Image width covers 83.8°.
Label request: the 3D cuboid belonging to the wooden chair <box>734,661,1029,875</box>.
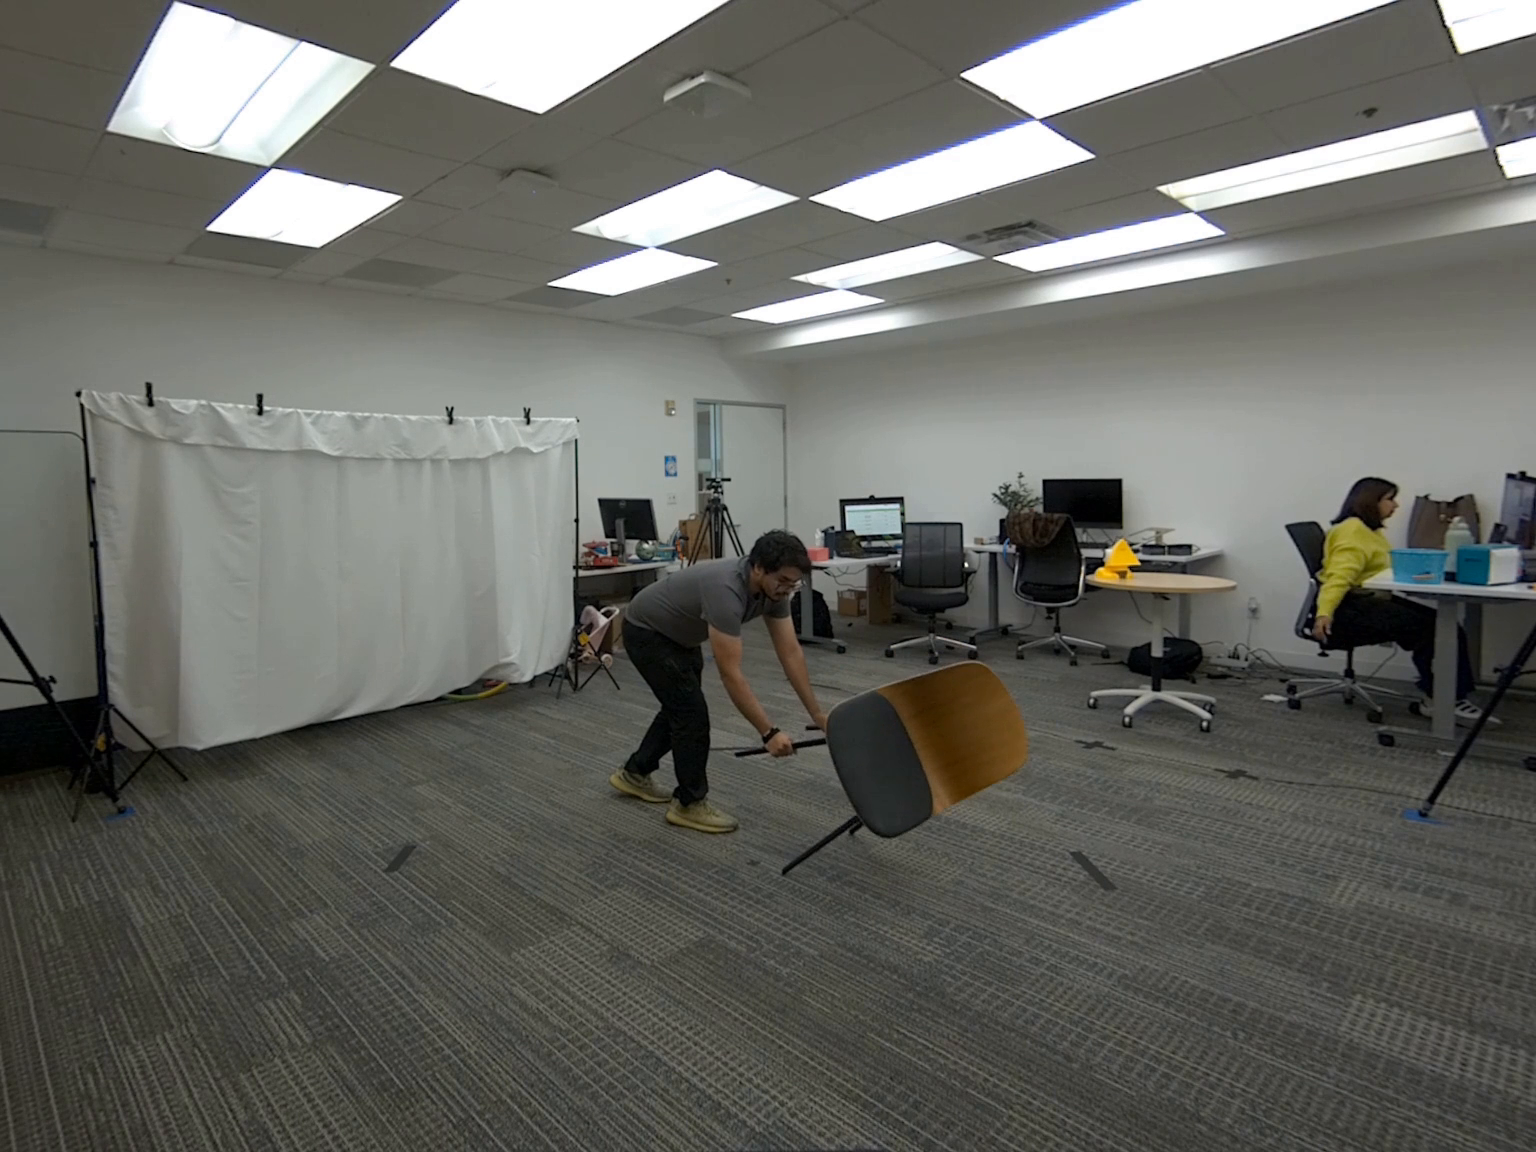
[{"bbox_3d":[0.390,0.650,2.976,0.885,0.487,0.509,-31,-16,33],"label":"wooden chair"}]
